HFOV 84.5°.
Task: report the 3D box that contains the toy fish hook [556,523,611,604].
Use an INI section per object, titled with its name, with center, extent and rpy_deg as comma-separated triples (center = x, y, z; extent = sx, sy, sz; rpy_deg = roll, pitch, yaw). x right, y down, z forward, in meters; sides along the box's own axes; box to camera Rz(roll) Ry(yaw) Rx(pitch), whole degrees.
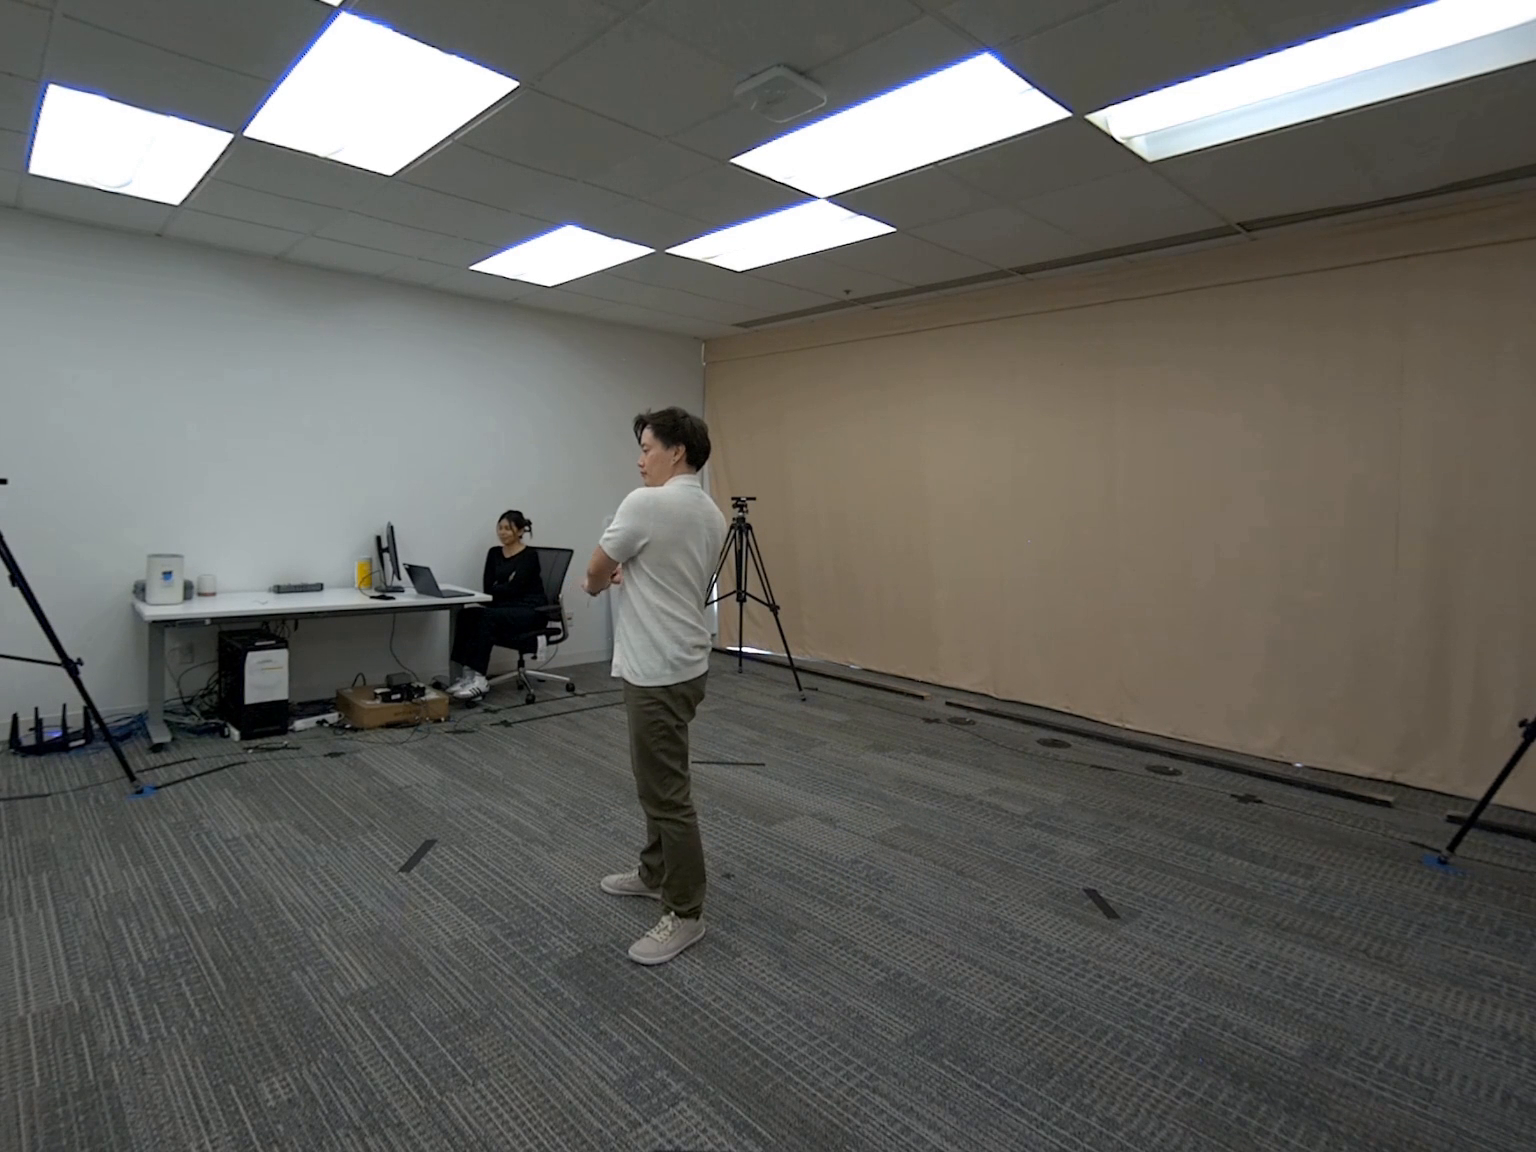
[toy fish hook]
center = -0.563, -0.111, 3.130
extent = 0.229, 0.509, 0.047
rpy_deg = -5, -46, 45
